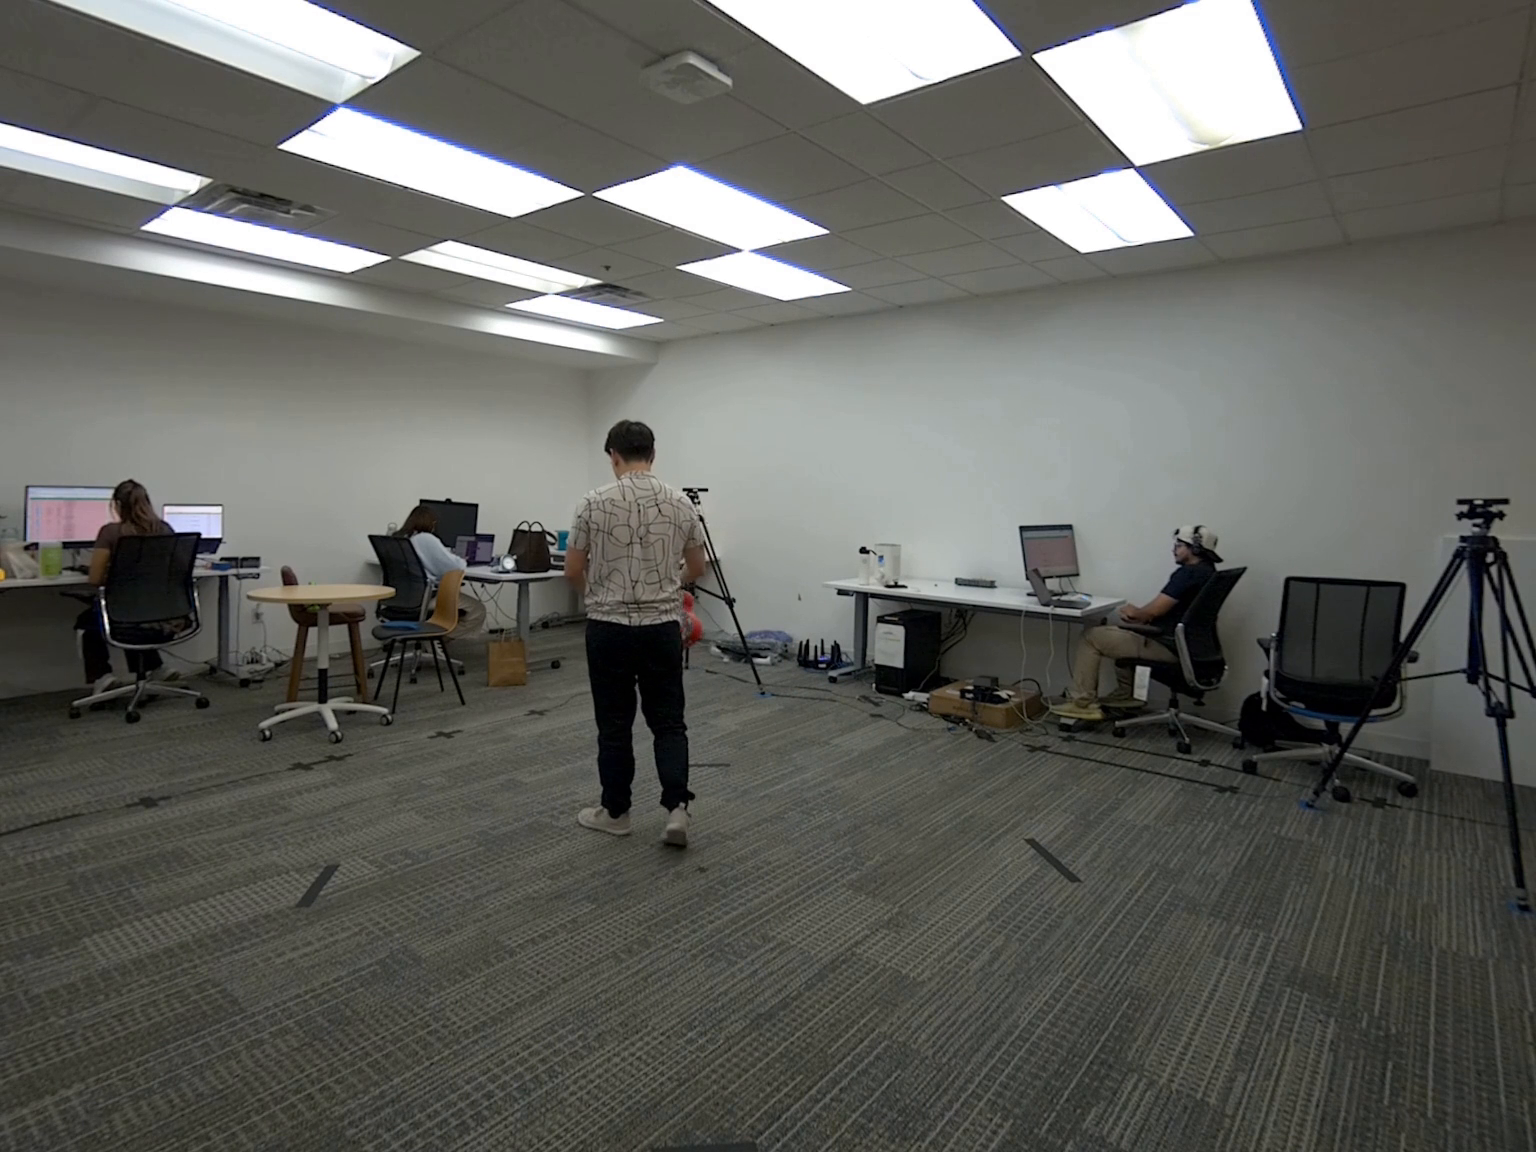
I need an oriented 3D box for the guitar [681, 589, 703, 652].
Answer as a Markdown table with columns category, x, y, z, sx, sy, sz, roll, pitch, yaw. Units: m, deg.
| category | x | y | z | sx | sy | sz | roll | pitch | yaw |
| --- | --- | --- | --- | --- | --- | --- | --- | --- | --- |
| guitar | -0.397 | 0.070 | 3.716 | 0.196 | 0.511 | 0.068 | -24 | -32 | 30 |
